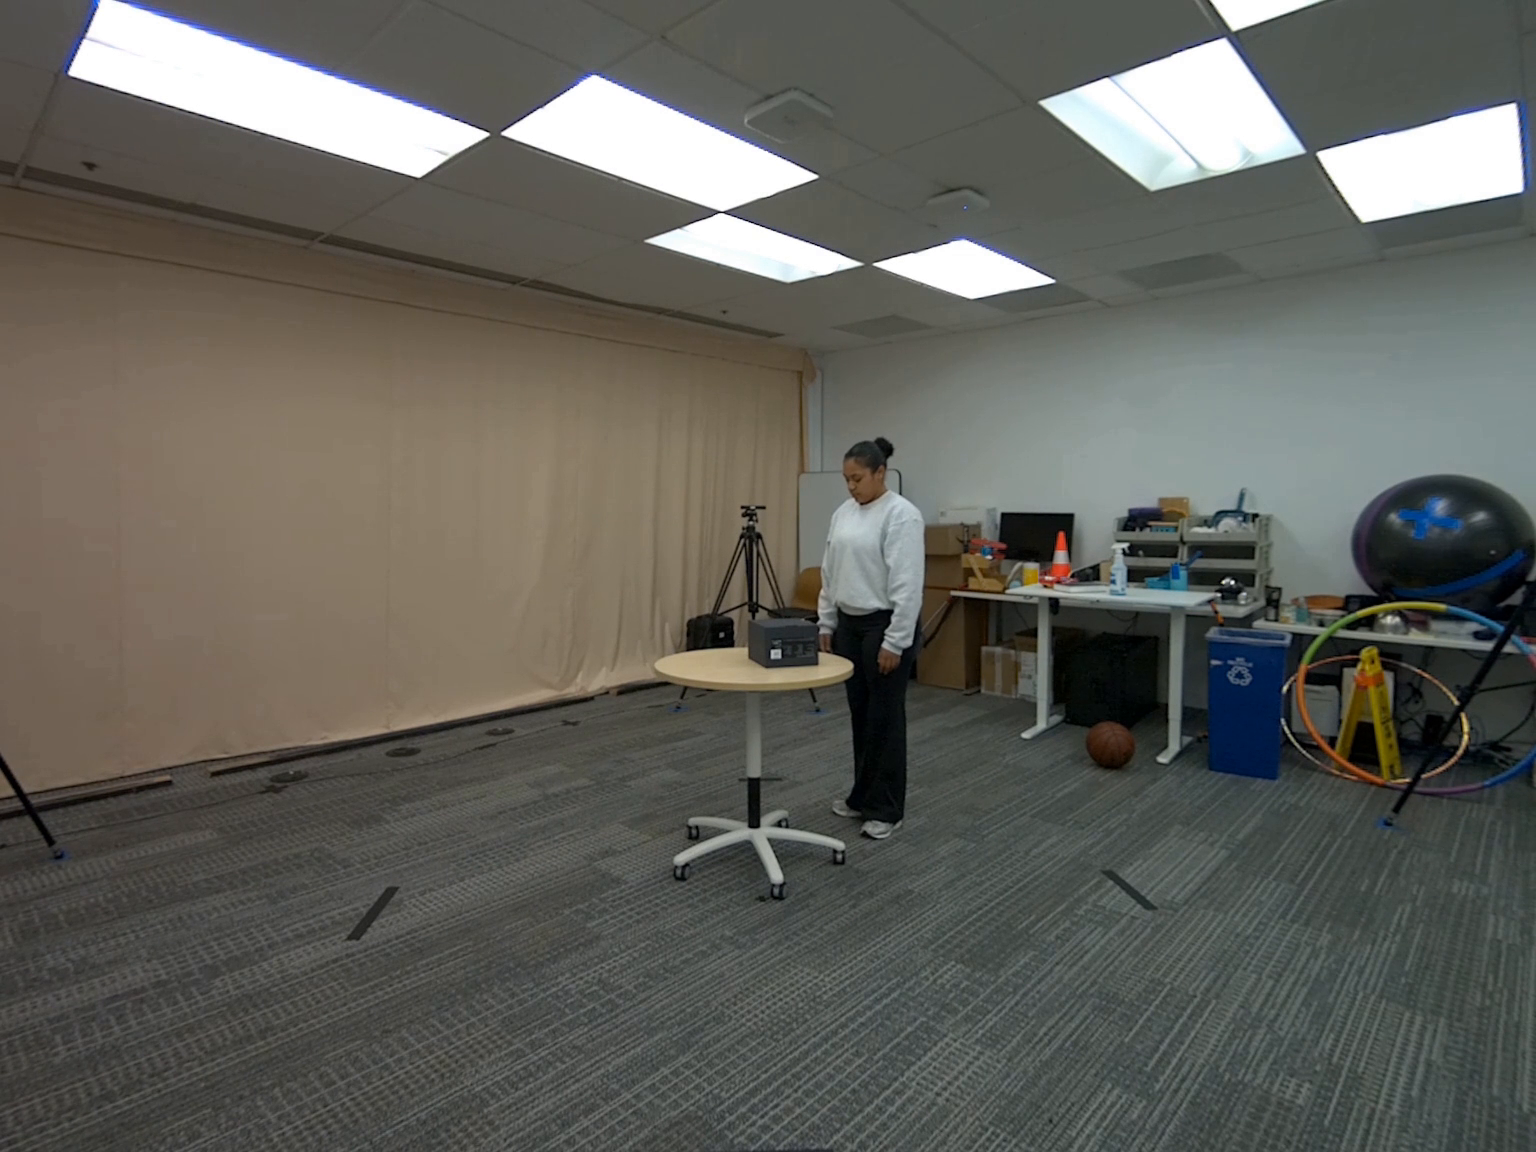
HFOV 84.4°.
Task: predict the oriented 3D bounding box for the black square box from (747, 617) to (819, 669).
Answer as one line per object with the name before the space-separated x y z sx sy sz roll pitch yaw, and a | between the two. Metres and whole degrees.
black square box | 0.061 0.253 3.281 0.214 0.155 0.232 -2 3 -15
